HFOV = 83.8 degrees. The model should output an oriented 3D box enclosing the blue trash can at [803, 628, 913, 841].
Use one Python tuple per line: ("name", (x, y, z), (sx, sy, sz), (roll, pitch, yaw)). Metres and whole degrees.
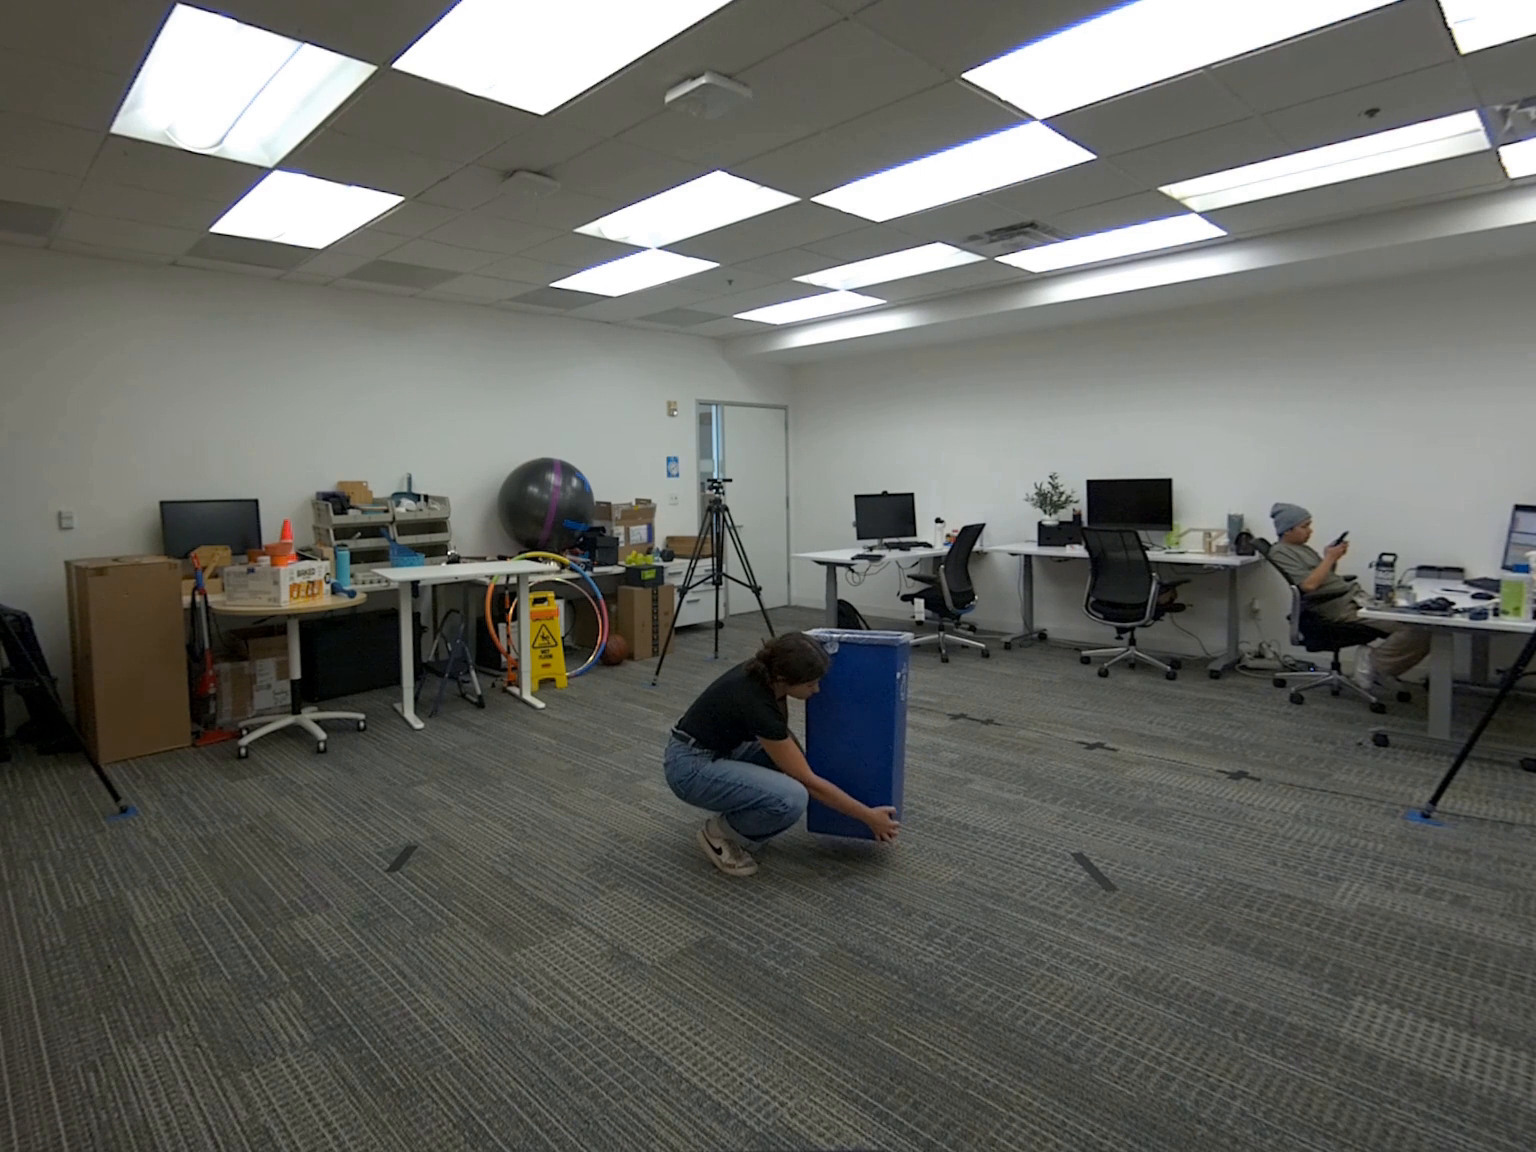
("blue trash can", (0.338, 0.565, 3.195), (0.385, 0.715, 0.367), (1, -2, 18))
